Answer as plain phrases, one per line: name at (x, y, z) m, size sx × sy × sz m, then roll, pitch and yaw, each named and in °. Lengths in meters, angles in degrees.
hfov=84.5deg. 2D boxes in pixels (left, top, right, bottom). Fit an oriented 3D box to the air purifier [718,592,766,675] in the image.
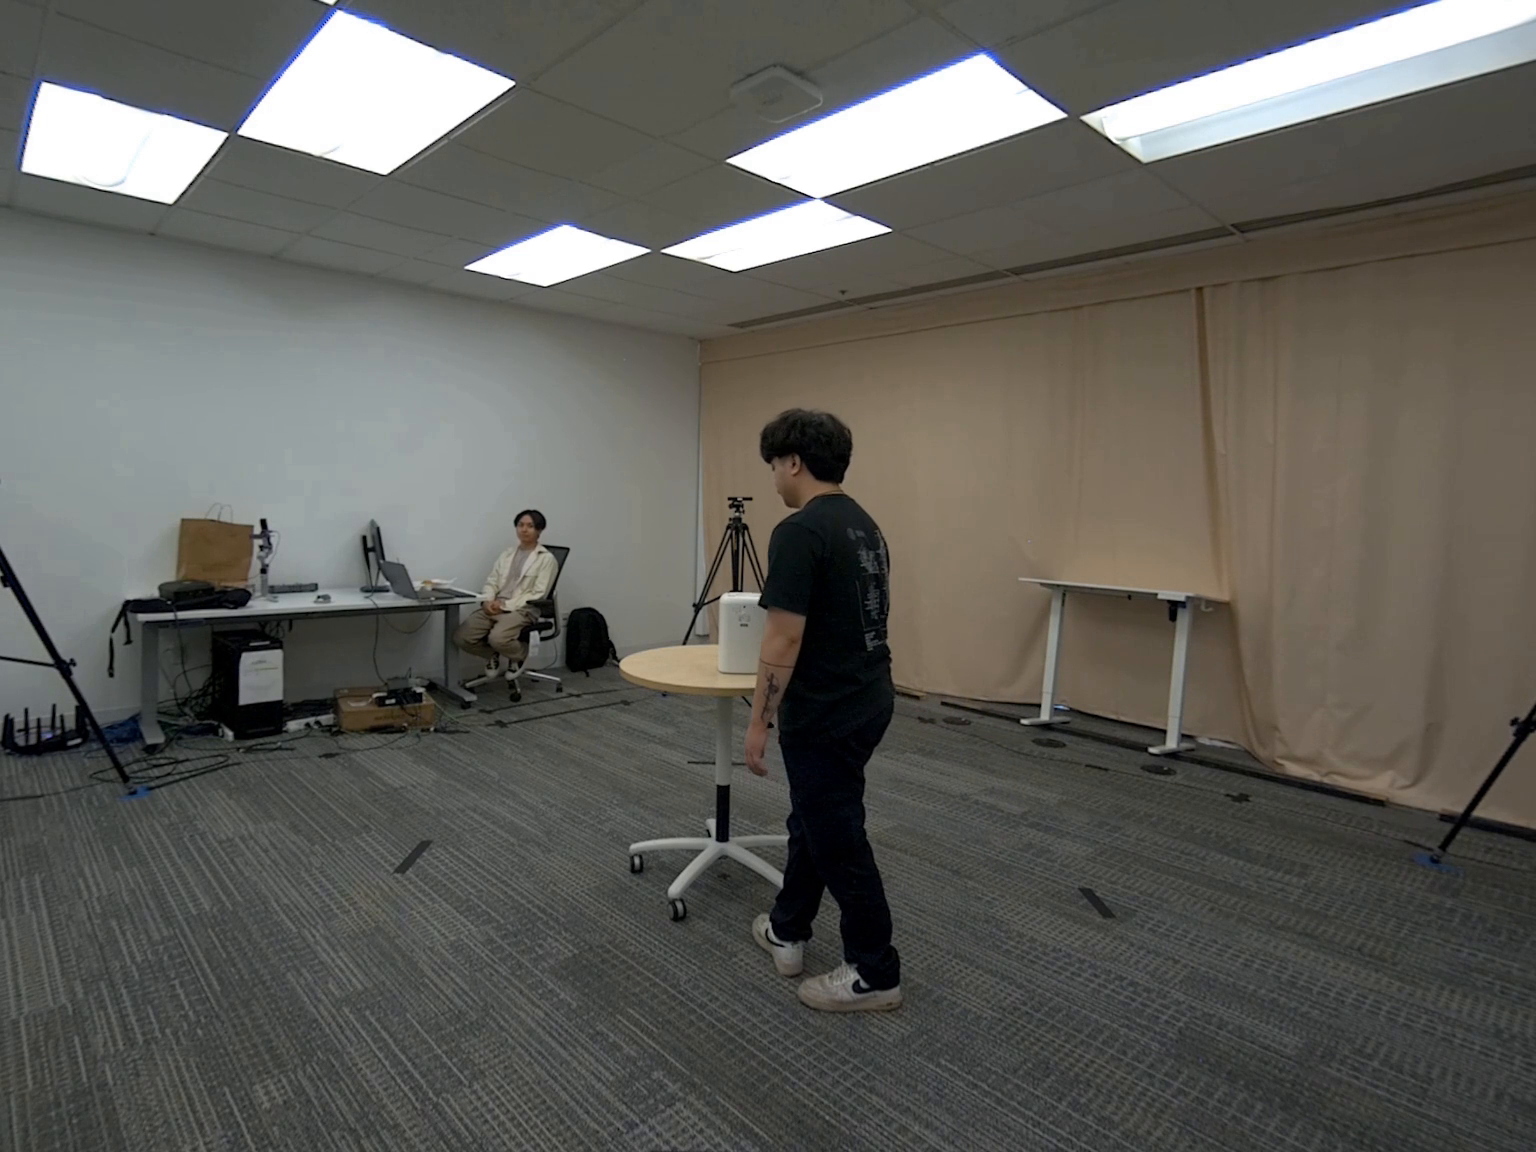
air purifier at (-0.095, 0.199, 2.942) m, size 0.171 × 0.264 × 0.172 m, roll 1°, pitch 6°, yaw 0°
